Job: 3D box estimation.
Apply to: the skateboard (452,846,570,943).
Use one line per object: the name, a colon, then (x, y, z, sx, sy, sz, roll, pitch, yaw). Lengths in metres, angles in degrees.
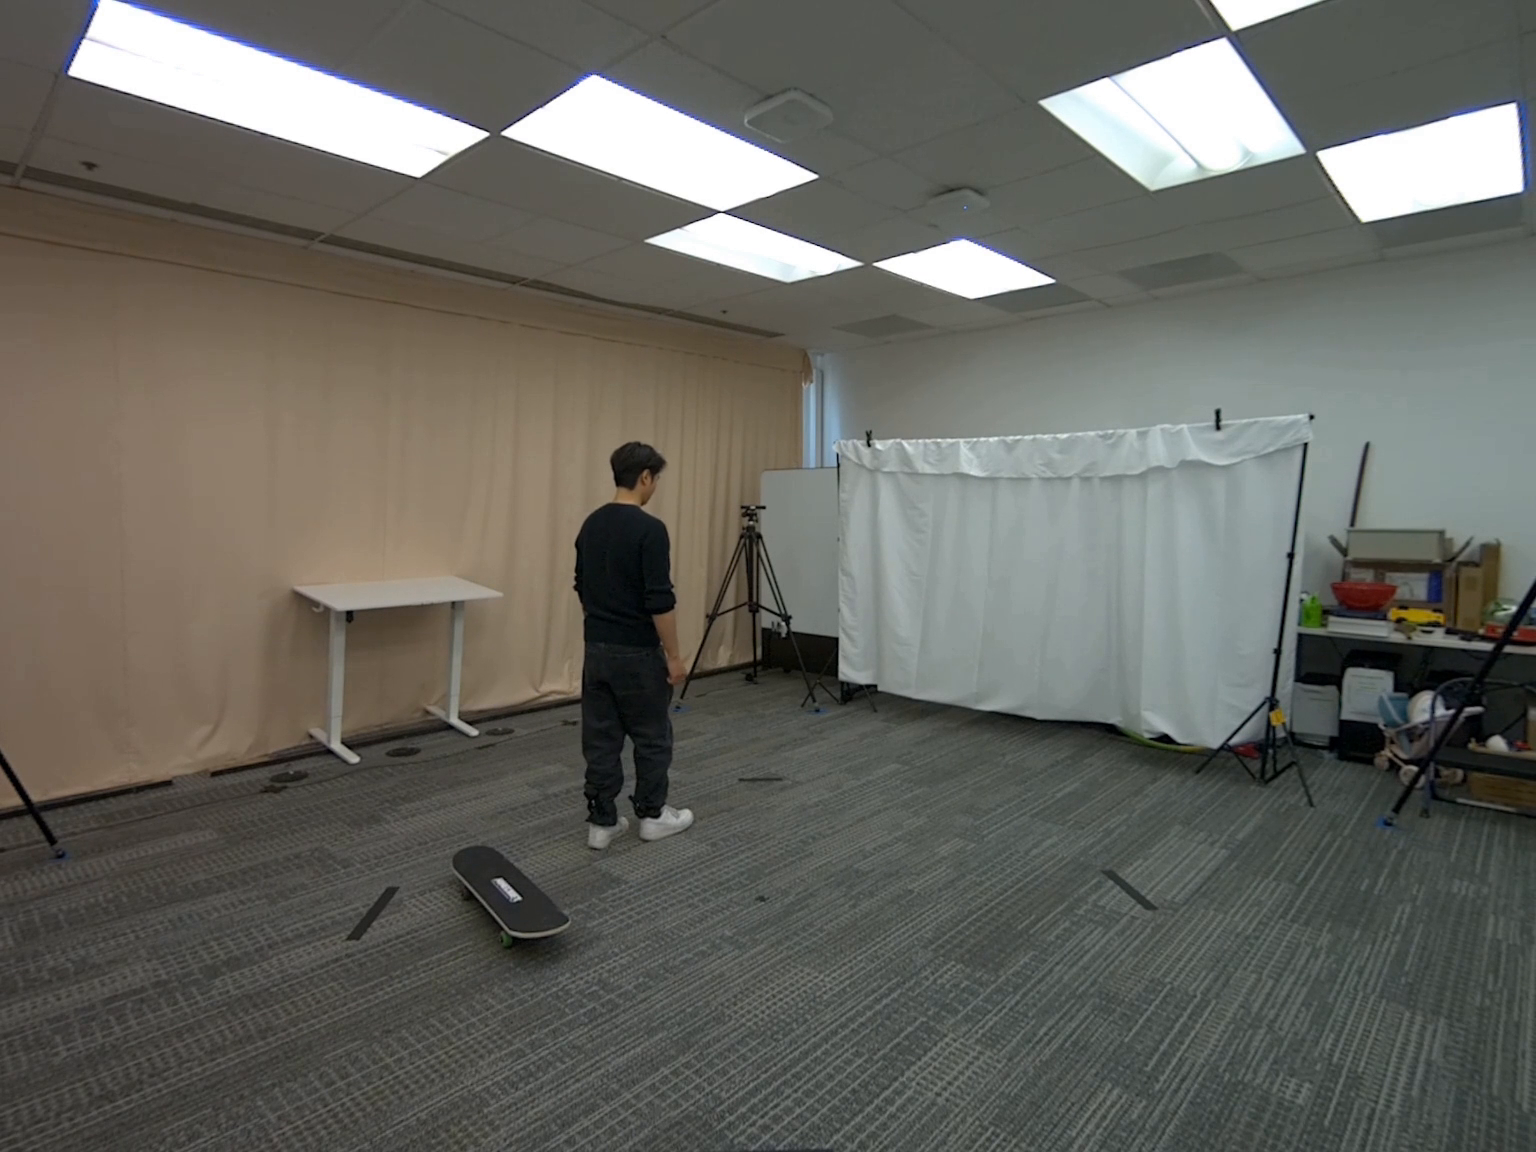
skateboard: (-0.893, 1.103, 2.879, 0.188, 0.110, 0.811, -3, 5, -37)
